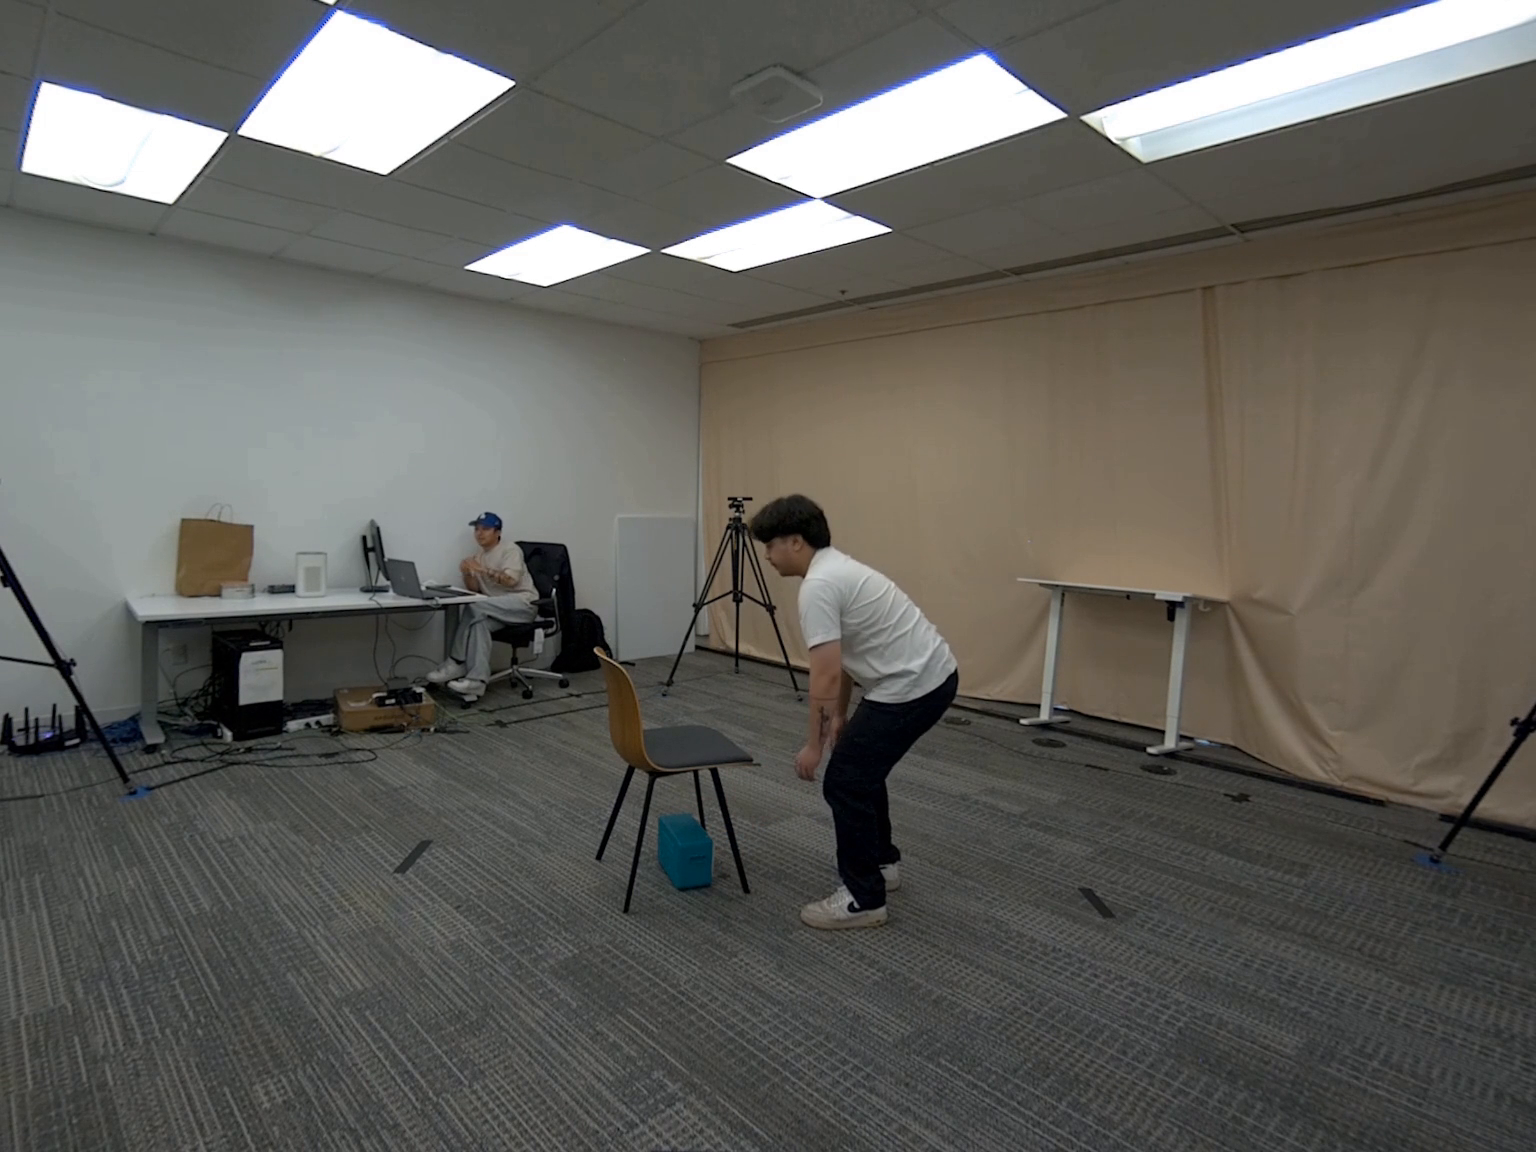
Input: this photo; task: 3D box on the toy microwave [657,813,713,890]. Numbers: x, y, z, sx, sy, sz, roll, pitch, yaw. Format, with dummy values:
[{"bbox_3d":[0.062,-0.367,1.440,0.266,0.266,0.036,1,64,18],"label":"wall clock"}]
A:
[{"bbox_3d":[-0.305,1.007,3.111,0.150,0.183,0.292,0,5,-22],"label":"toy microwave"}]
